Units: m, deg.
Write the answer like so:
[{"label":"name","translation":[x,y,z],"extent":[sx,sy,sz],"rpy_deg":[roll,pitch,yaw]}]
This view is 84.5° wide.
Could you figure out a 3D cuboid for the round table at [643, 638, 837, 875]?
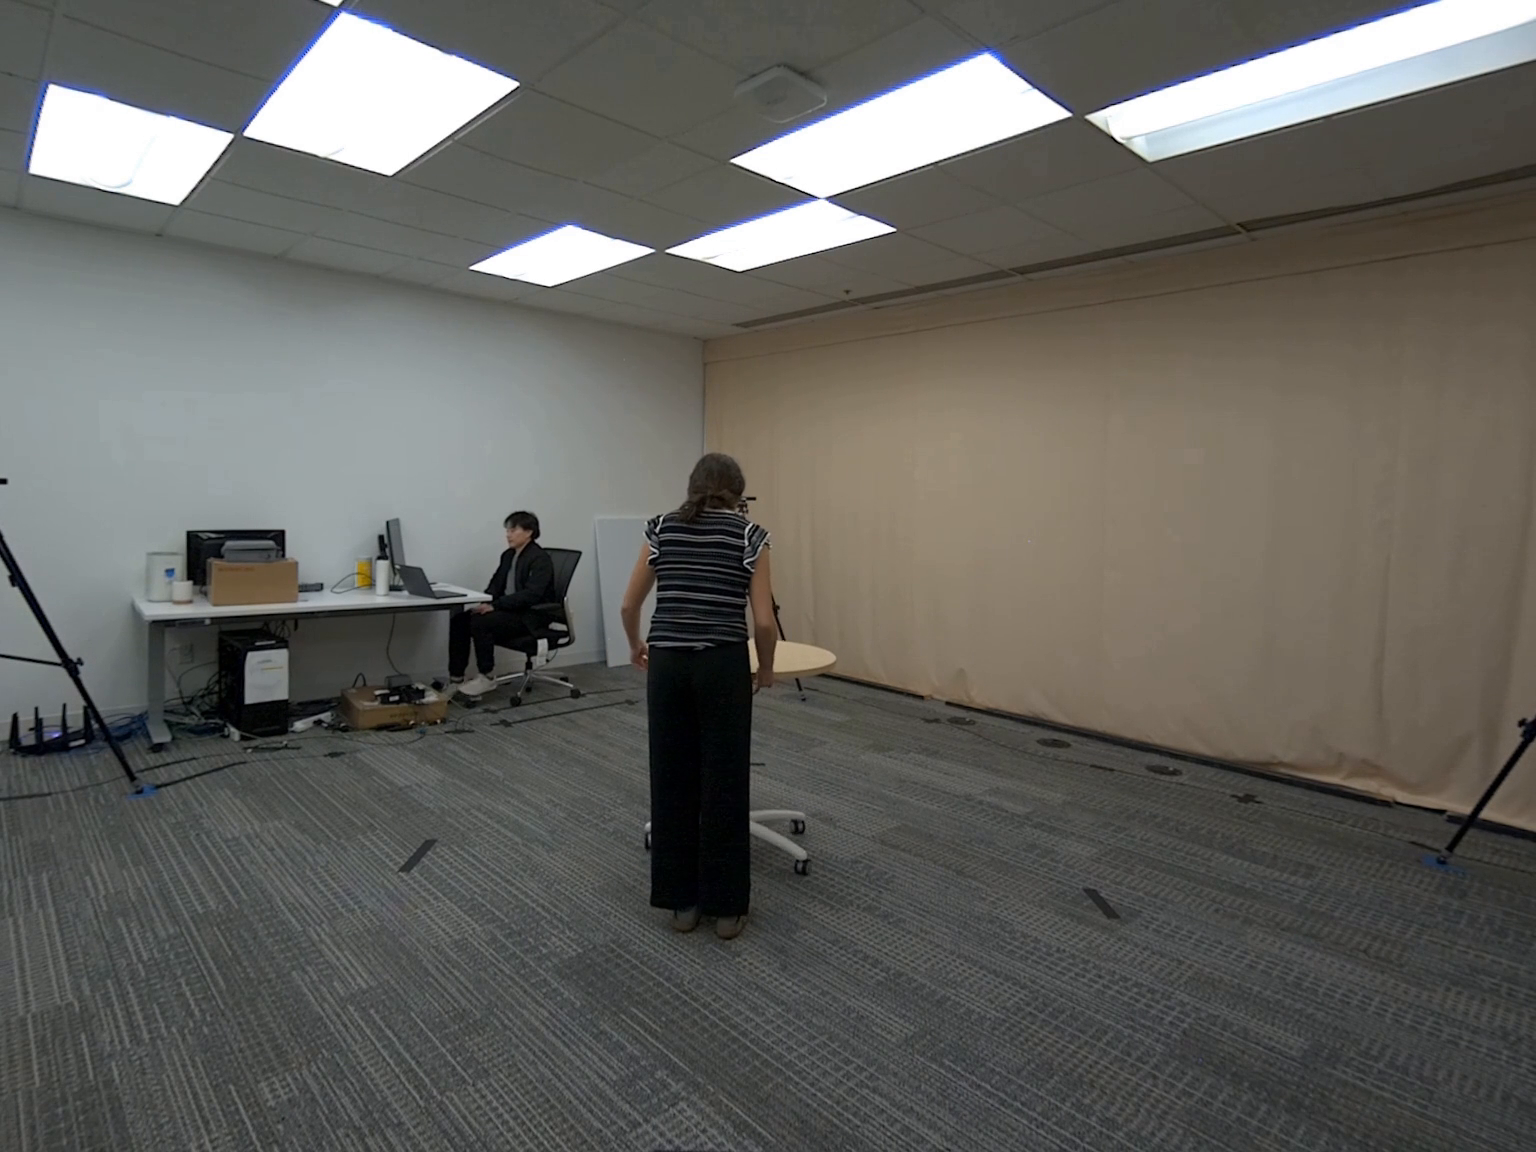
[{"label":"round table","translation":[-0.121,0.696,3.303],"extent":[0.784,0.784,0.788],"rpy_deg":[1,4,-1]}]
